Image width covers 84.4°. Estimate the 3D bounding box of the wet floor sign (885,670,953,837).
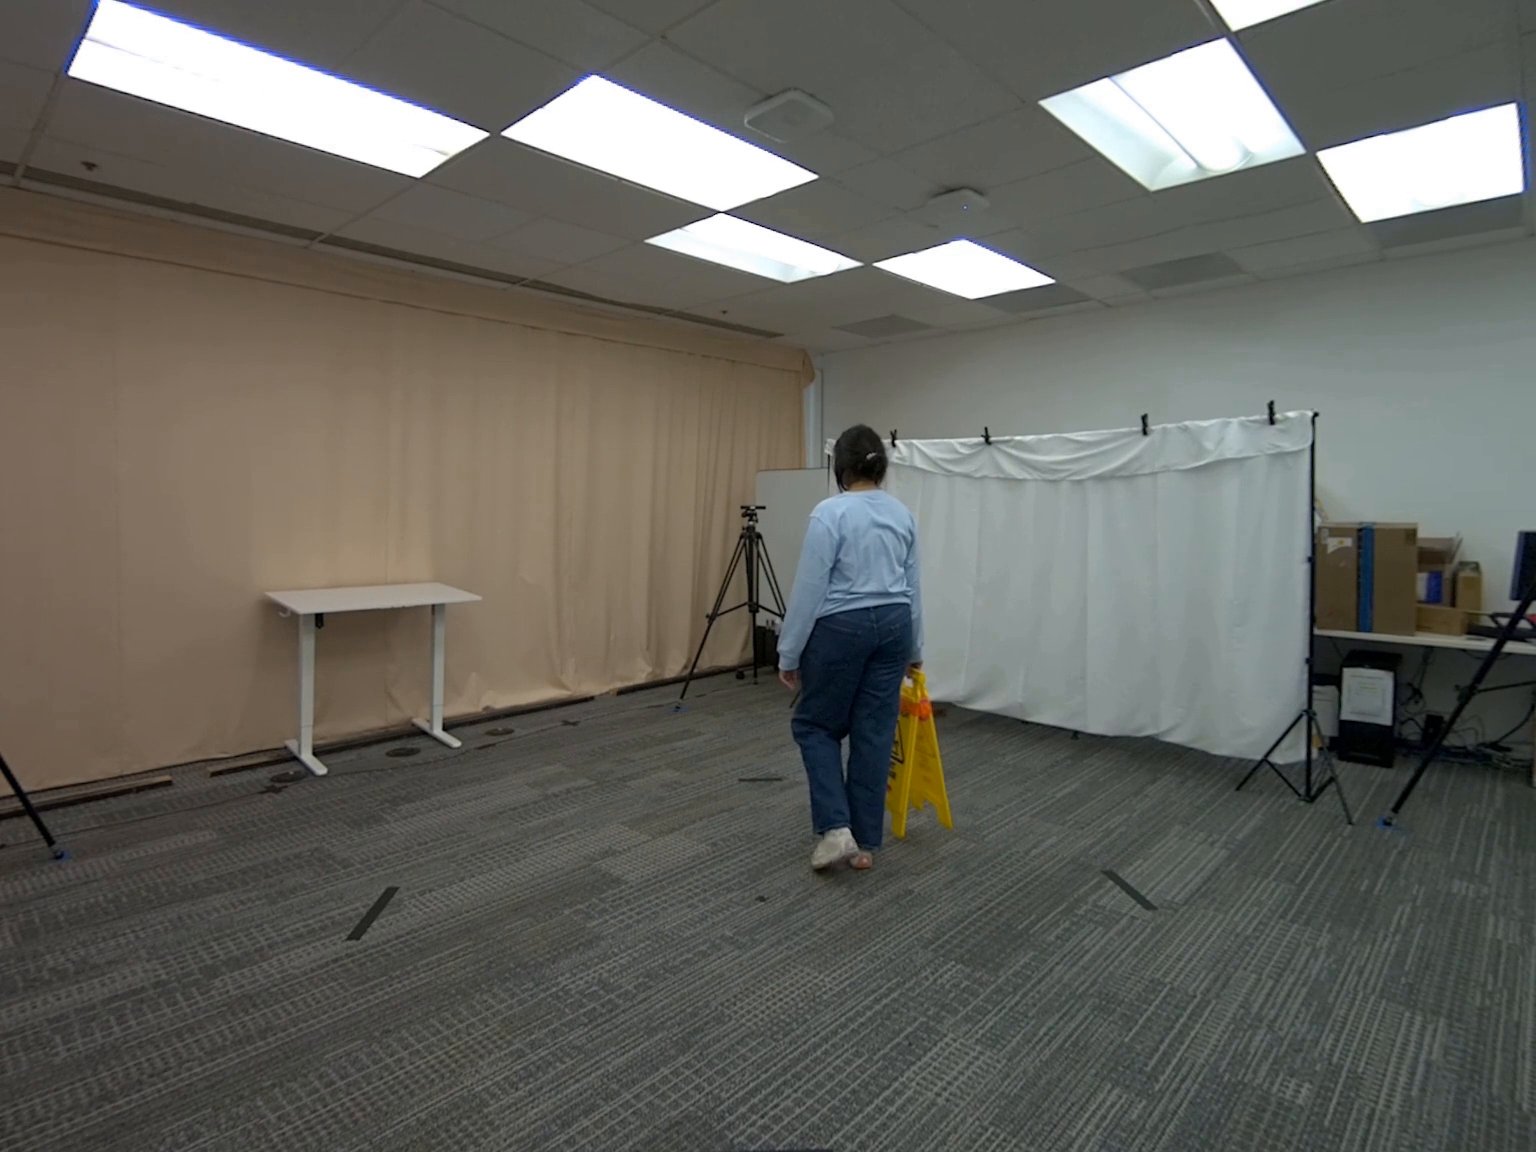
[{"bbox_3d":[0.587,0.700,3.486,0.284,0.644,0.289,-3,5,-22],"label":"wet floor sign"}]
